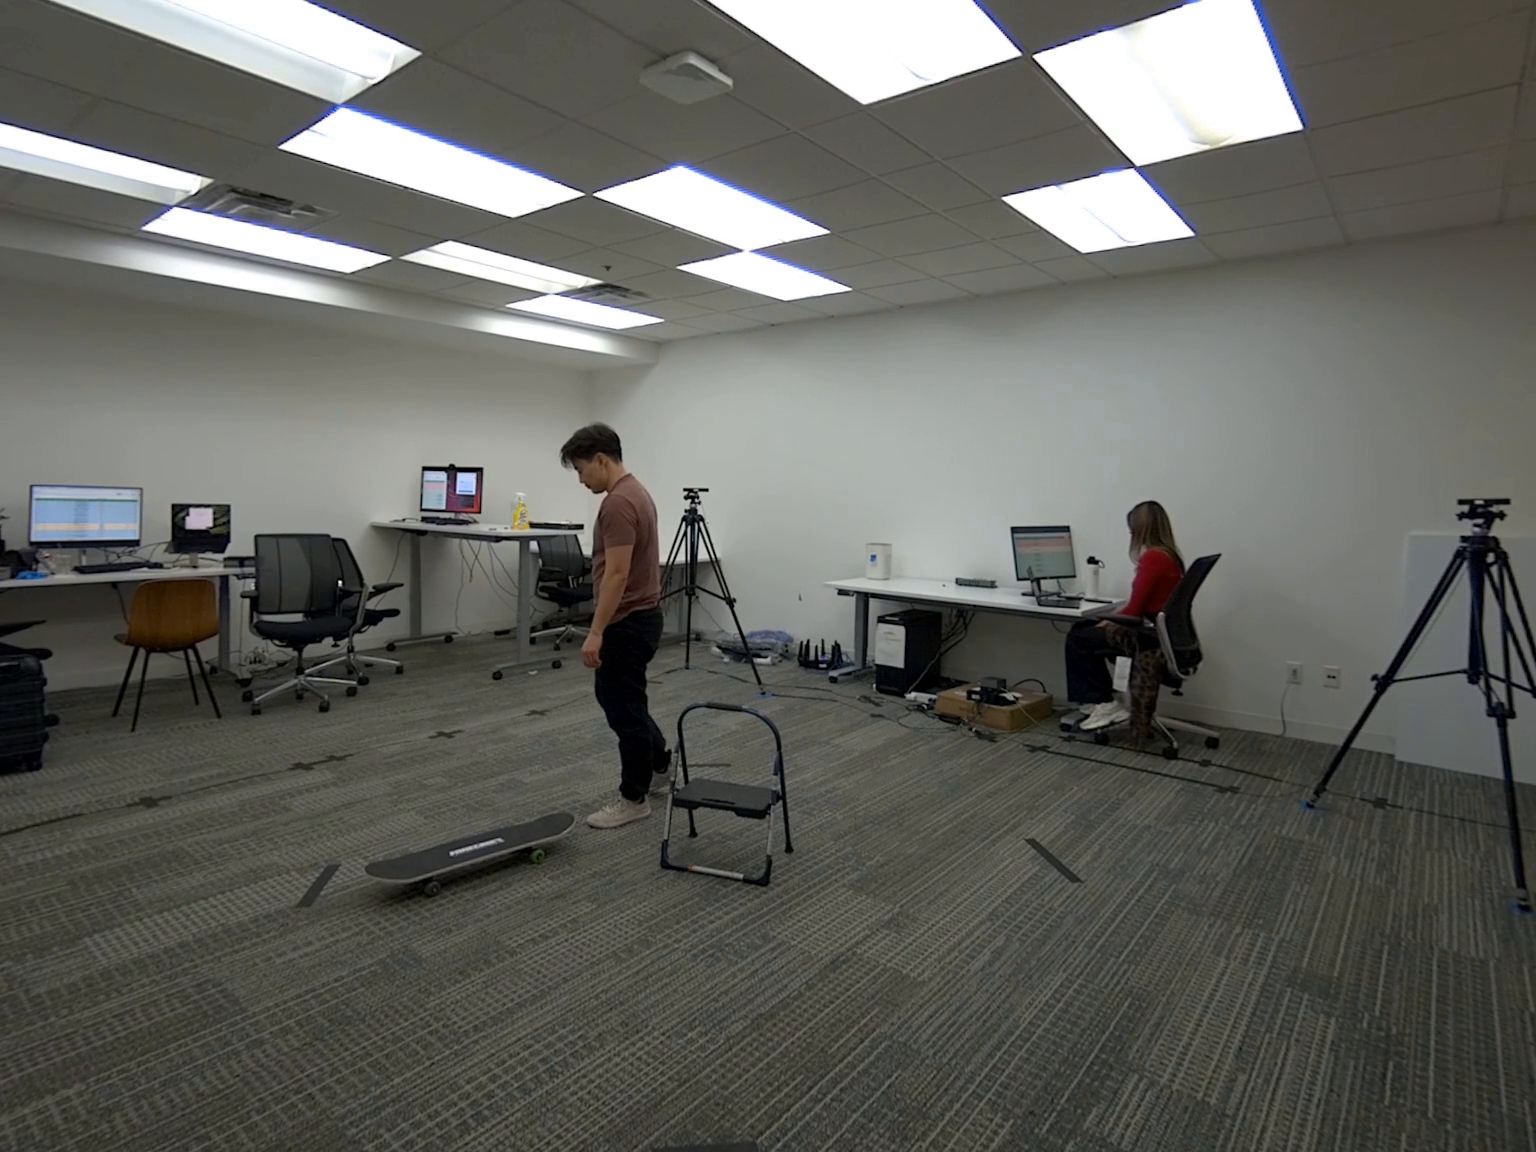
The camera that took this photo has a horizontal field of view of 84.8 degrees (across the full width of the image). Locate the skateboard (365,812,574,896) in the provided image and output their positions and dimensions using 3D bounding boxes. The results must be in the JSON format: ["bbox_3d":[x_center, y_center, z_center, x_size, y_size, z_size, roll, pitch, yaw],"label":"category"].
[{"bbox_3d":[-1.058,1.009,3.069,0.762,0.110,0.200,-5,7,-42],"label":"skateboard"}]
